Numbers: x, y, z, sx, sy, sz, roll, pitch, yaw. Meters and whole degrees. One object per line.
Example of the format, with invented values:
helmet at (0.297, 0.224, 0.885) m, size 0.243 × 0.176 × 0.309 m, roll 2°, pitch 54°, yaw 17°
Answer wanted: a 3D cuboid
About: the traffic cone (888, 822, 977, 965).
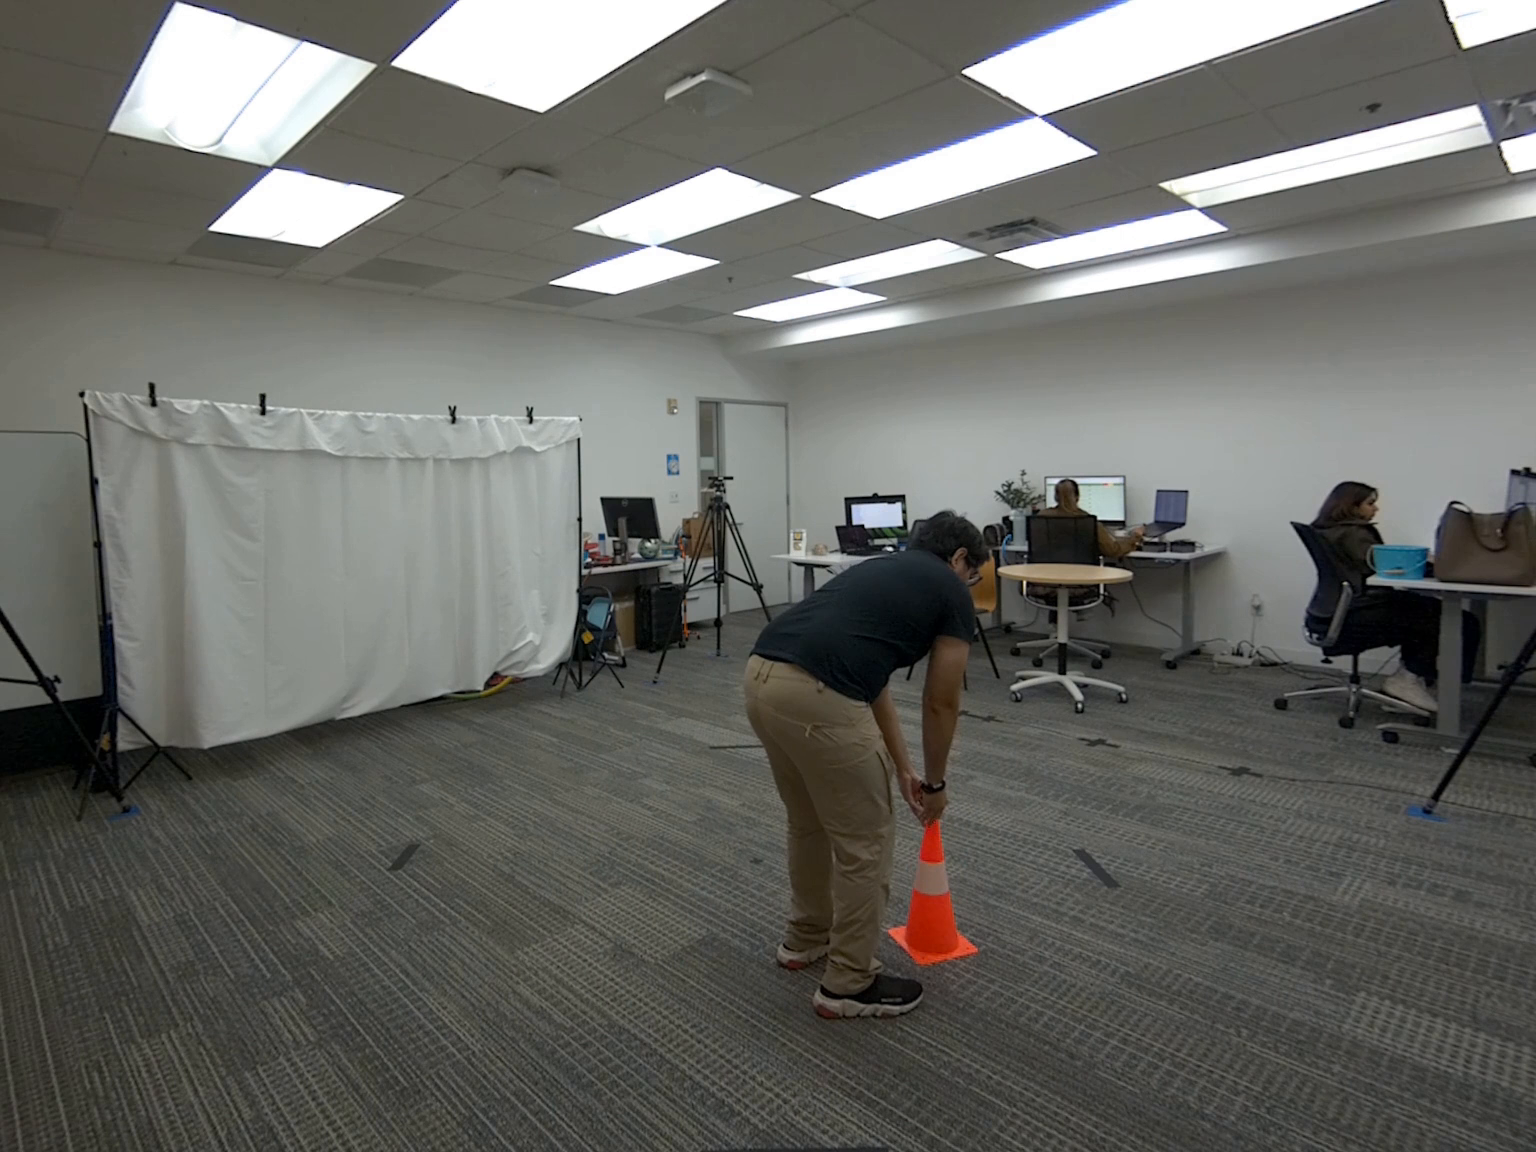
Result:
traffic cone at (0.491, 0.901, 2.534) m, size 0.201 × 0.382 × 0.208 m, roll -4°, pitch 5°, yaw -20°
